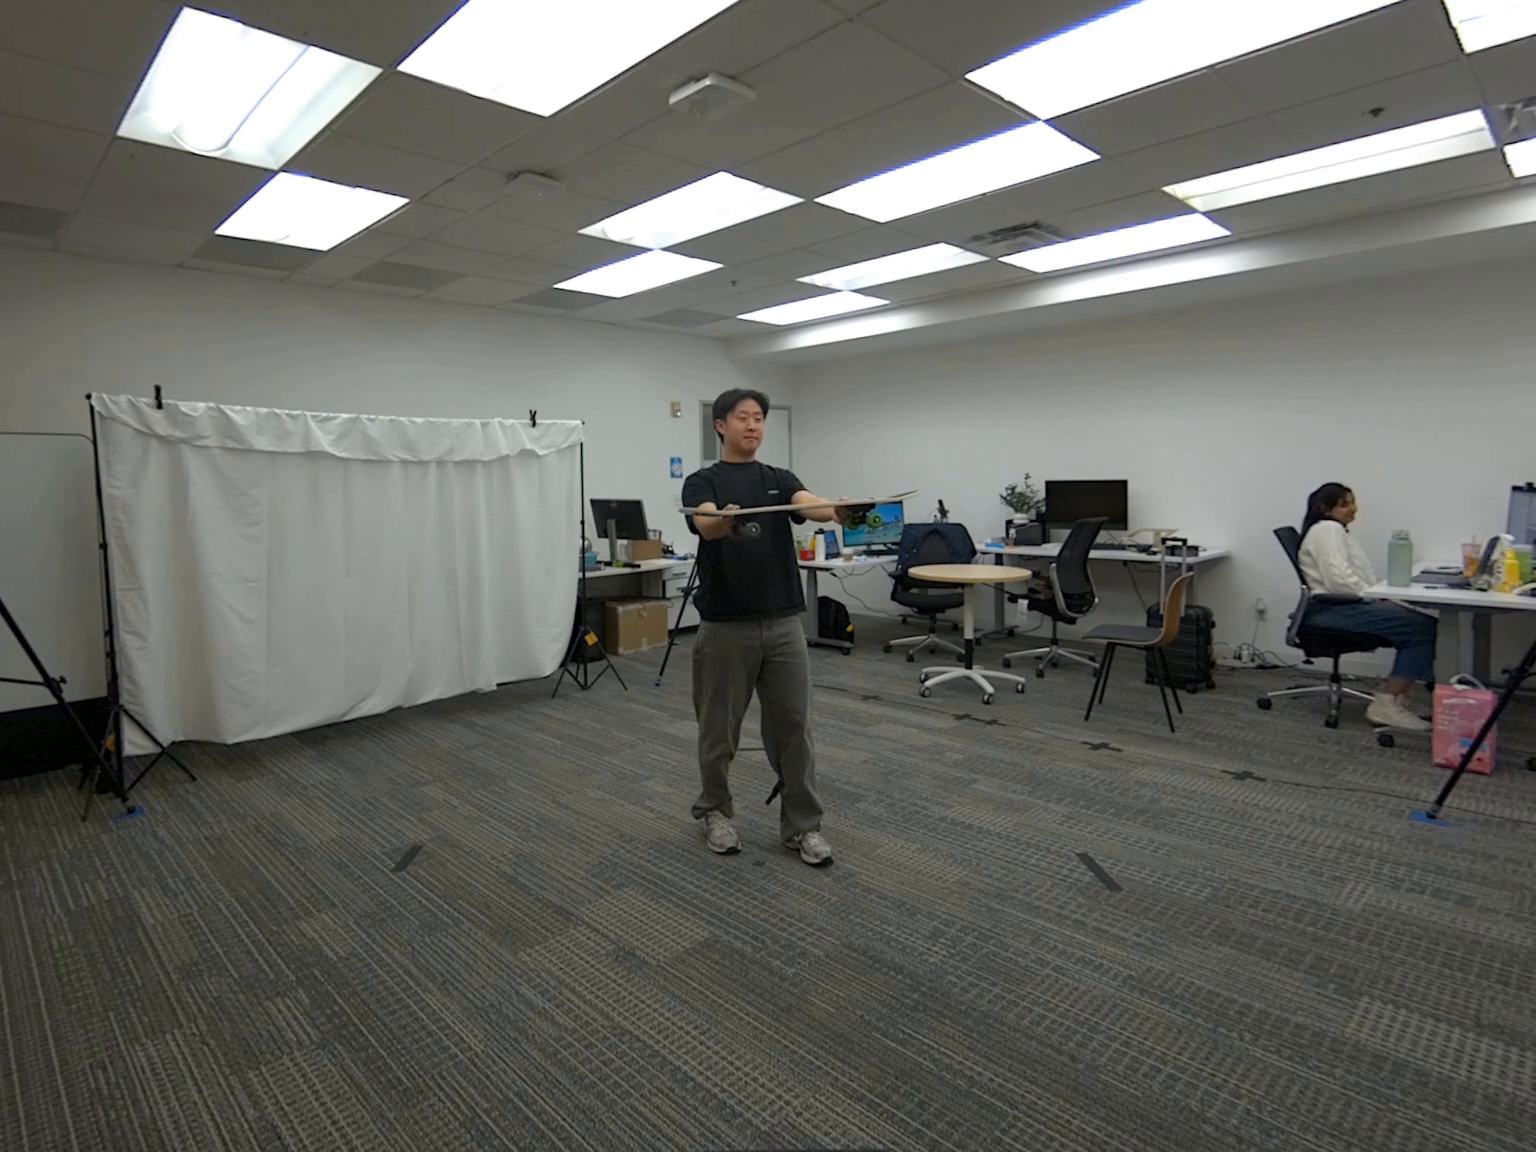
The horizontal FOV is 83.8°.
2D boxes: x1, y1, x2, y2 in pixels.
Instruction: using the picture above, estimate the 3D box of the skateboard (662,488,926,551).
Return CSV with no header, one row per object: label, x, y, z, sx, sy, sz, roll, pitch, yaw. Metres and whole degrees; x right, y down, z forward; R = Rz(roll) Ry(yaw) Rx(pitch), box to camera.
skateboard,0.081,-0.177,2.648,0.774,0.110,0.196,-7,2,-17
